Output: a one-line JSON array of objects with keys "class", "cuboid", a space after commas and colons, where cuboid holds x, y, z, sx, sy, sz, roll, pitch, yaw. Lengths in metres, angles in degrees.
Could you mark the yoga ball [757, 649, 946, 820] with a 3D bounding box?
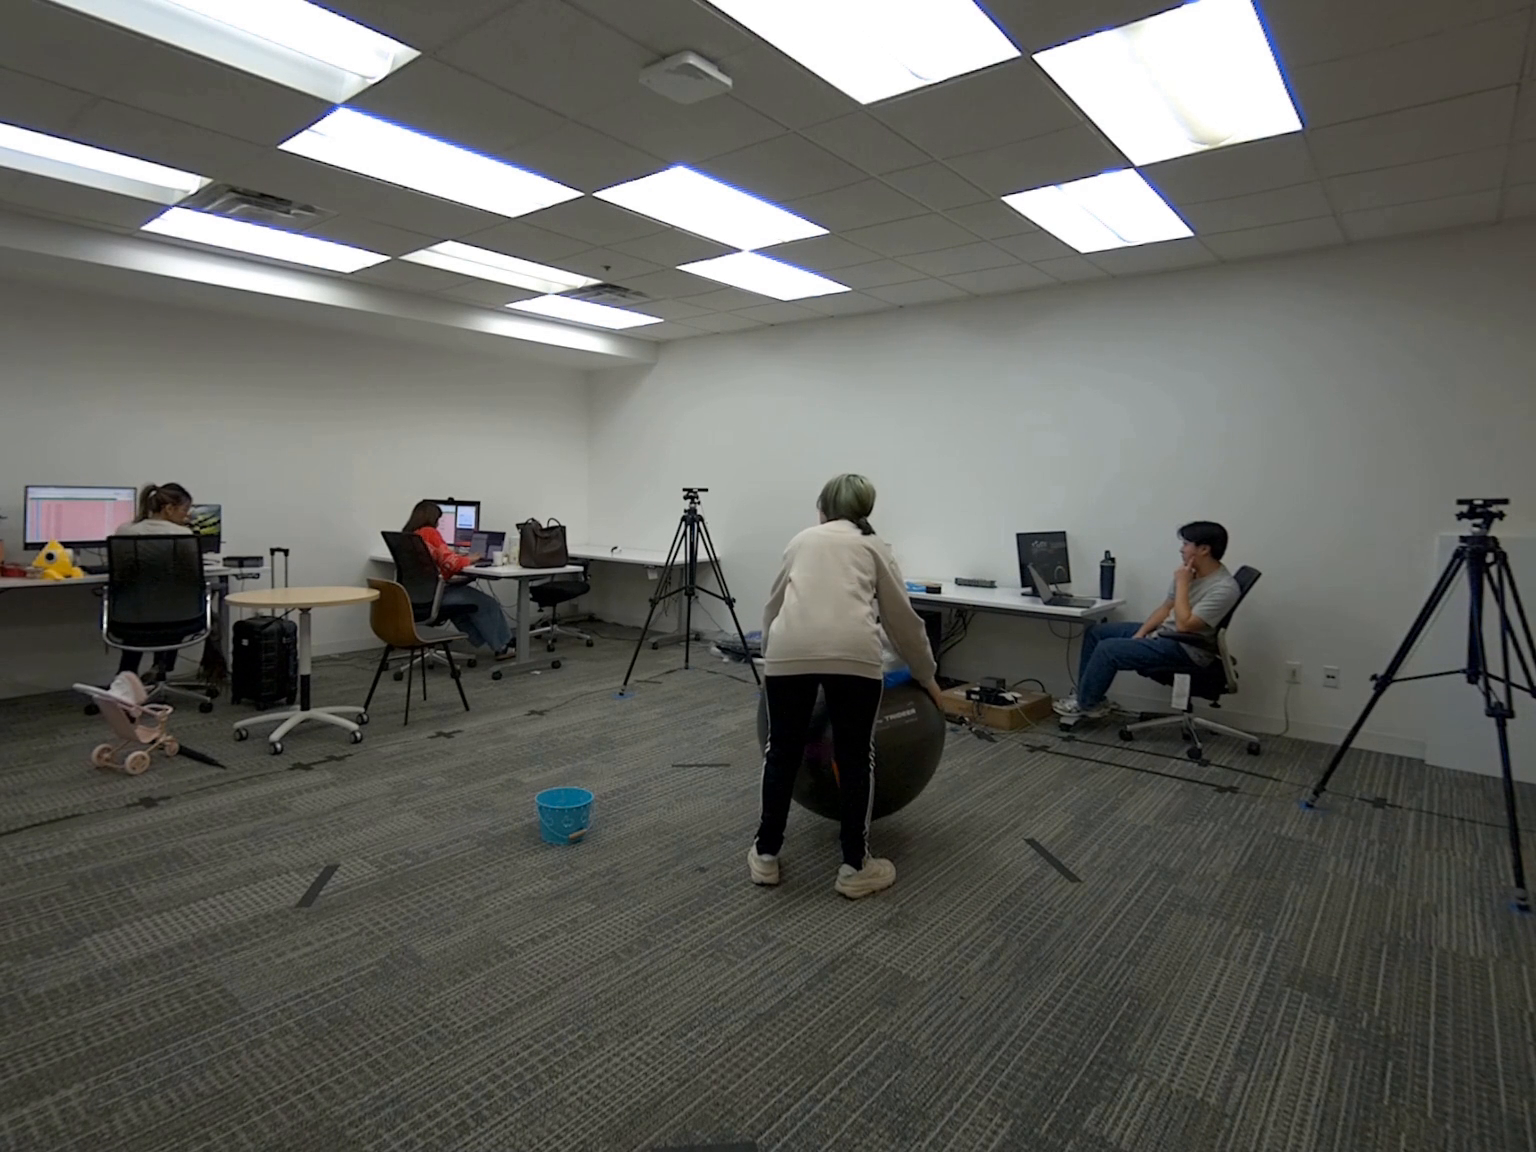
[{"class": "yoga ball", "cuboid": [0.324, 0.600, 3.447, 0.757, 0.755, 0.762, 1, 4, -2]}]
